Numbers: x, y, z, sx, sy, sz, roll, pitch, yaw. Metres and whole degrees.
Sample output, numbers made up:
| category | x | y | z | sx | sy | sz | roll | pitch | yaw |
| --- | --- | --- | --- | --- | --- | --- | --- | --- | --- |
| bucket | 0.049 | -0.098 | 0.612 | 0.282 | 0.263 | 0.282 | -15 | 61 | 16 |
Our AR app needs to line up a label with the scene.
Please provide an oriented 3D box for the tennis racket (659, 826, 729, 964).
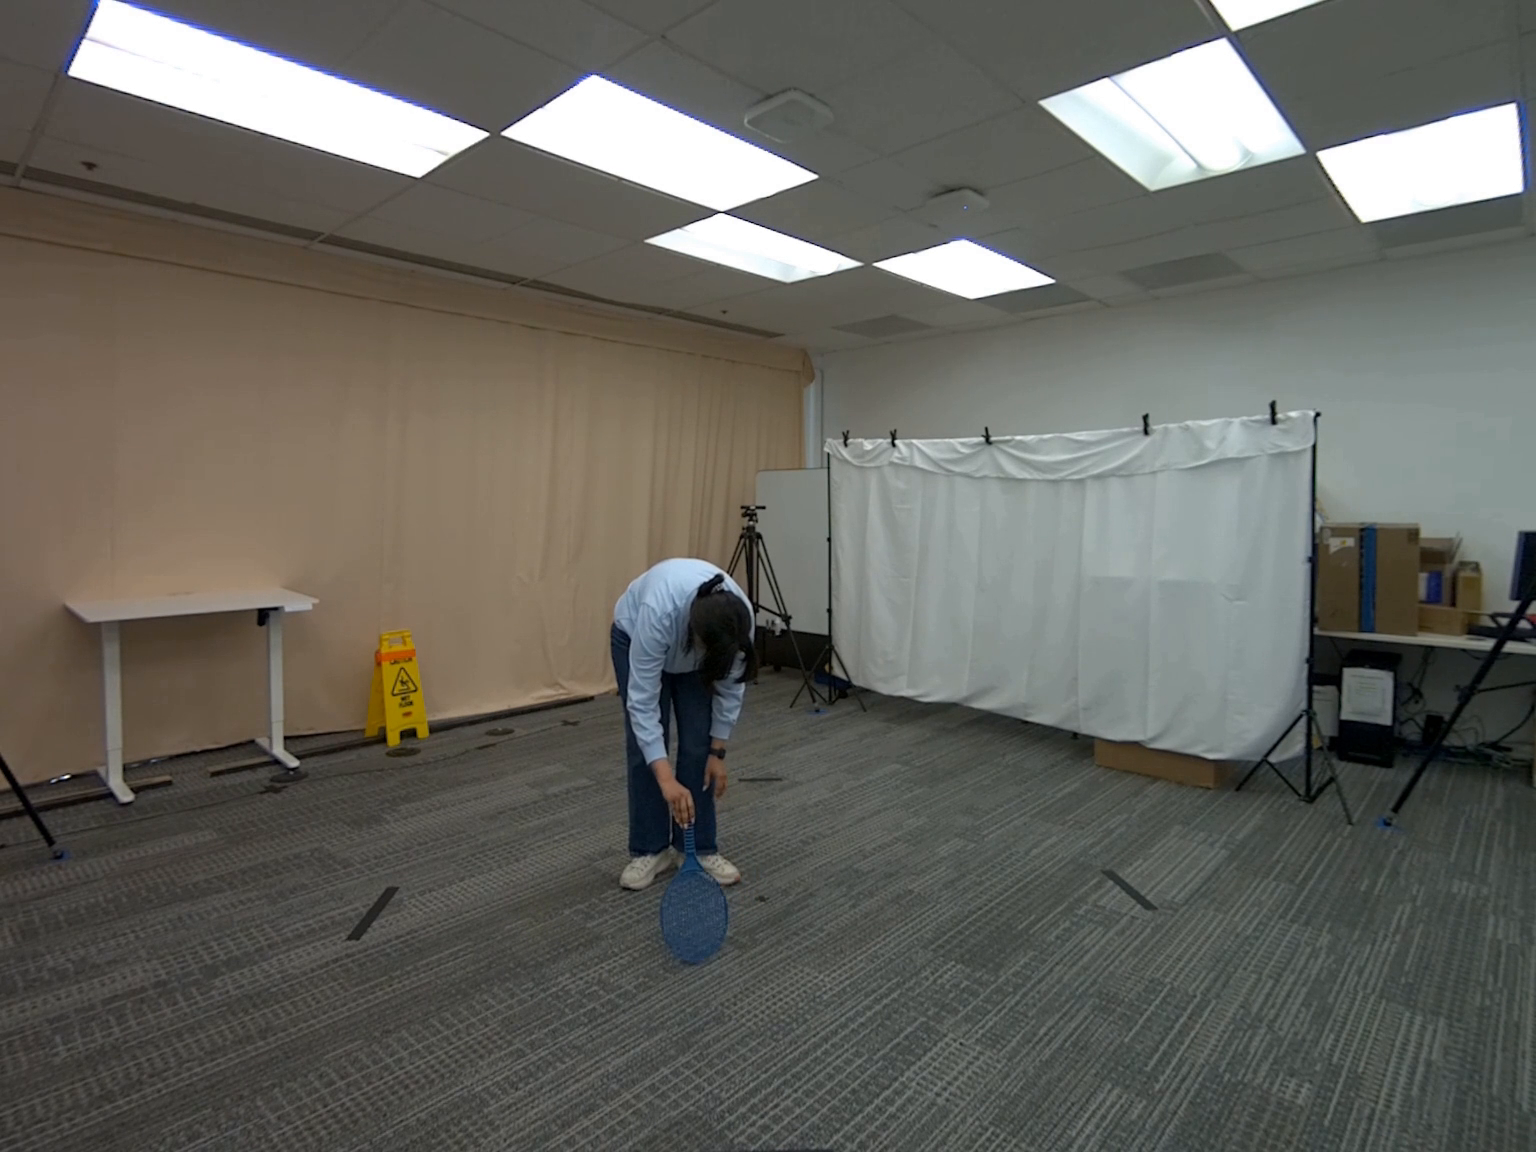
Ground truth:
| category | x | y | z | sx | sy | sz | roll | pitch | yaw |
| --- | --- | --- | --- | --- | --- | --- | --- | --- | --- |
| tennis racket | -0.211 | 0.950 | 2.610 | 0.210 | 0.435 | 0.032 | 6 | -11 | -13 |
